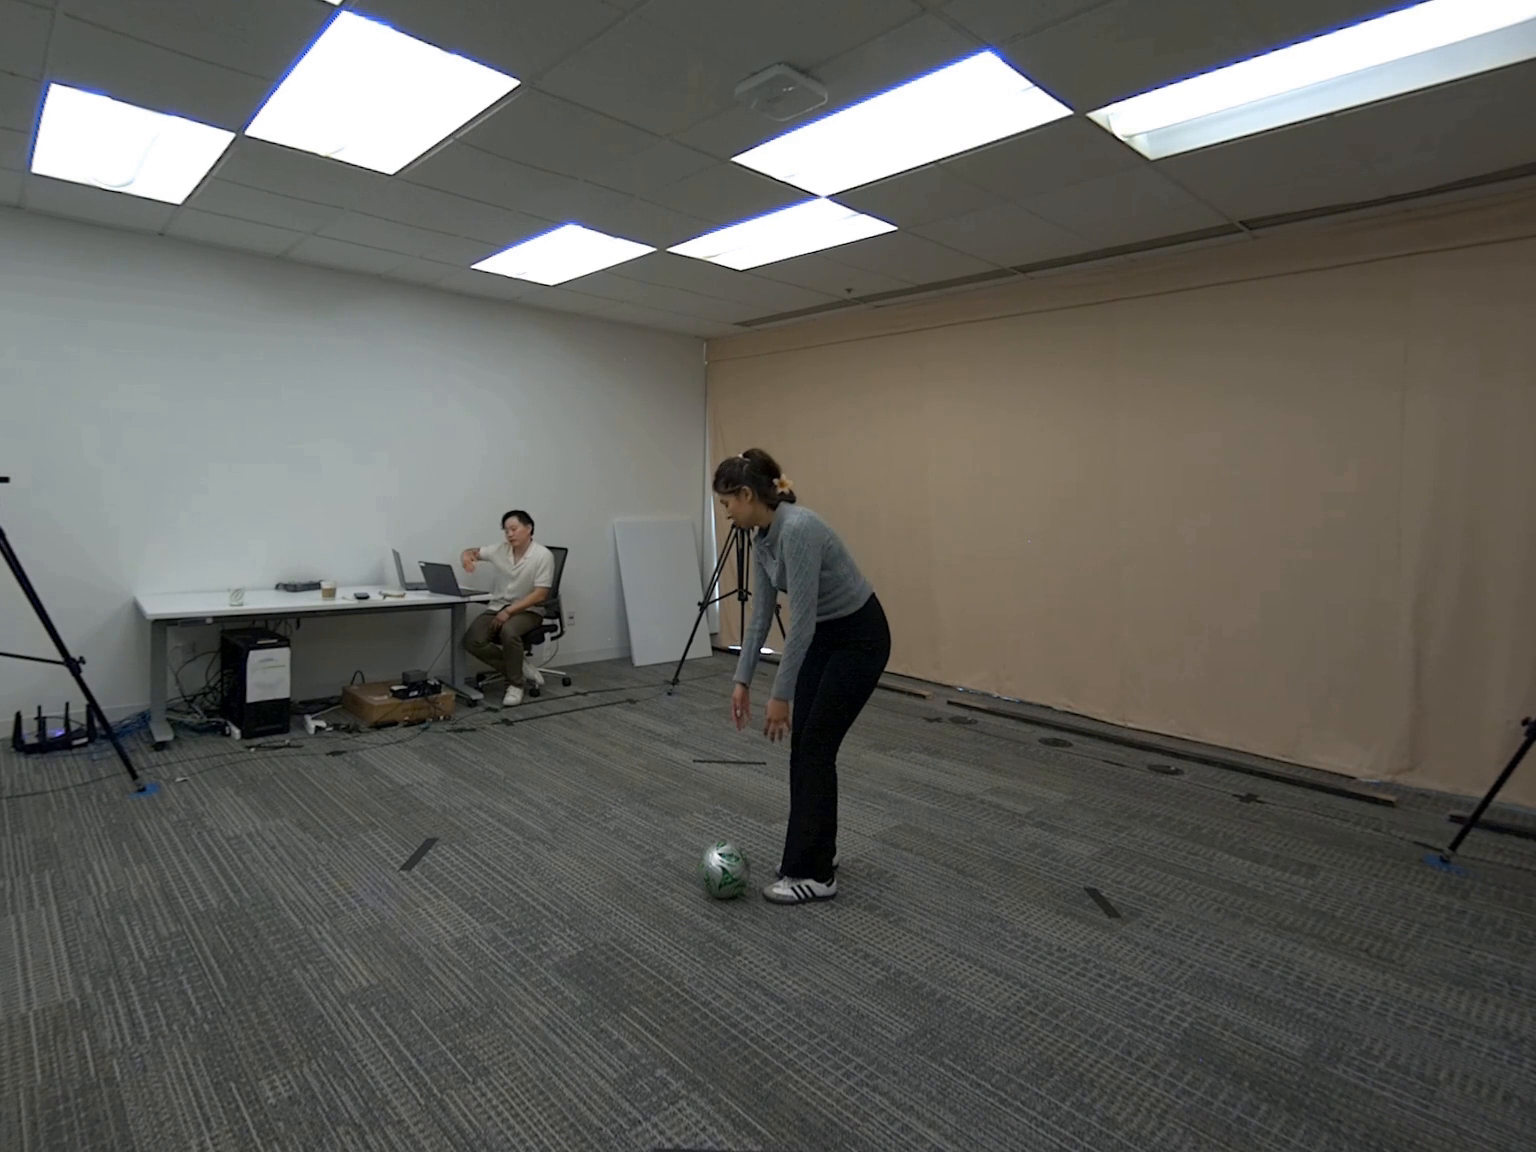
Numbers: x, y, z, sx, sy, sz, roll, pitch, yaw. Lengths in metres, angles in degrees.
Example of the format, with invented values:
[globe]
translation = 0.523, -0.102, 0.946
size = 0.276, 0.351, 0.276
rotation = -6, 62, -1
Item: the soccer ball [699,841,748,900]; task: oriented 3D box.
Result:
[soccer ball]
translation = -0.164, 1.017, 2.944
size = 0.187, 0.187, 0.188
rotation = 1, 4, -1
